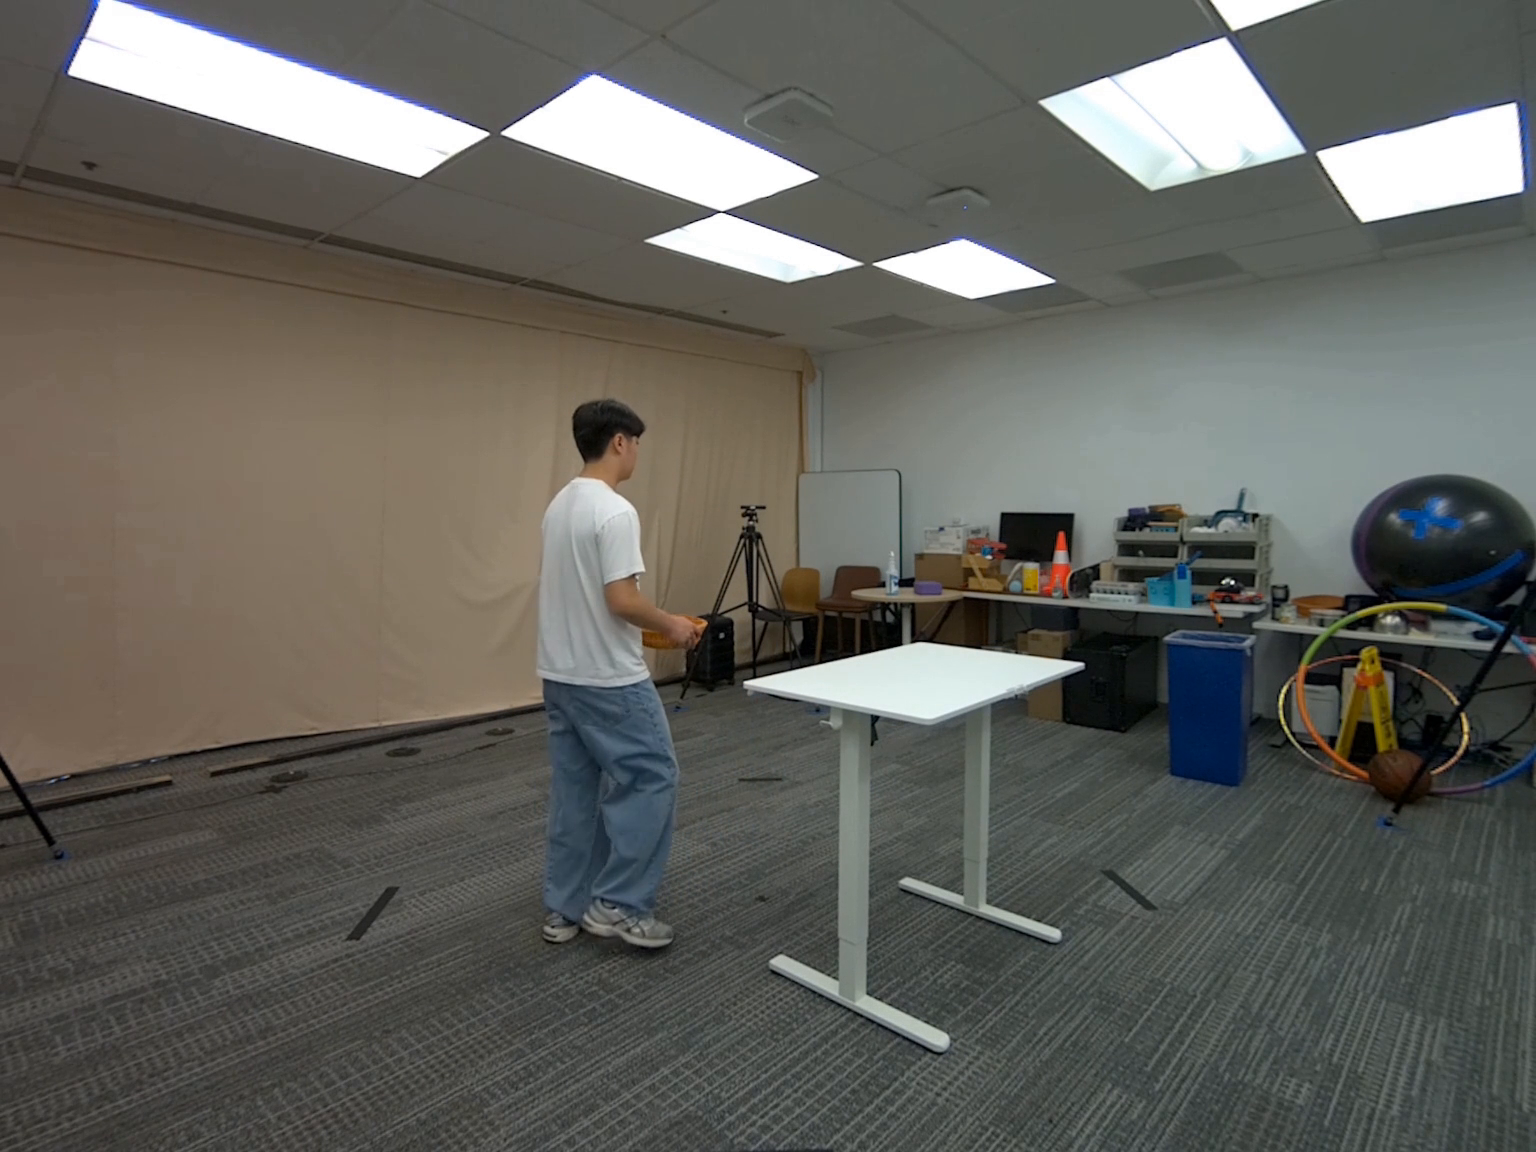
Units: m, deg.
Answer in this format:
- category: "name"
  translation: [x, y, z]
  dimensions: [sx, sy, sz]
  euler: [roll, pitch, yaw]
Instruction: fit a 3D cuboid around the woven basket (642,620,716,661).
- category: "woven basket"
  translation: [-0.369, 0.205, 2.902]
  dimensions: [0.247, 0.073, 0.360]
  euler: [-6, 7, -26]
